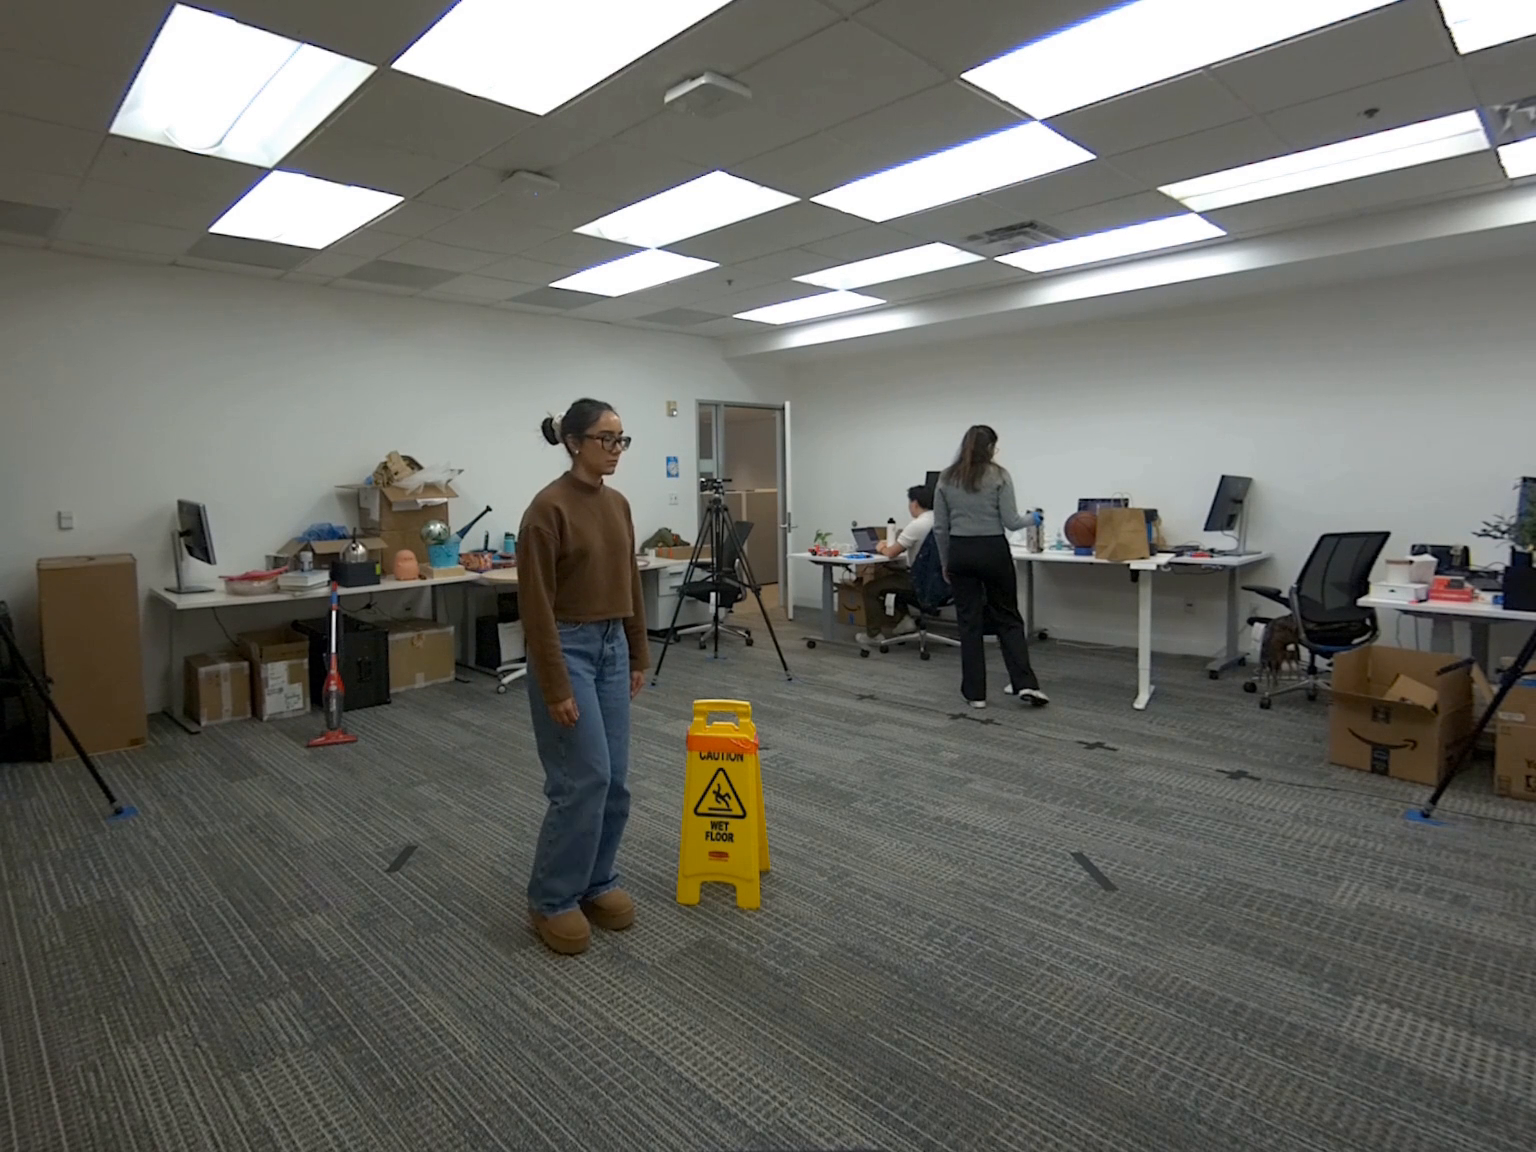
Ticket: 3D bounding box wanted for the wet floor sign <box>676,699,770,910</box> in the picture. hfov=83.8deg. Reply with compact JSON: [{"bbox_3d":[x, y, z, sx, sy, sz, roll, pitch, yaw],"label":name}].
[{"bbox_3d":[-0.153,0.743,2.909,0.285,0.643,0.288,-1,4,9],"label":"wet floor sign"}]
